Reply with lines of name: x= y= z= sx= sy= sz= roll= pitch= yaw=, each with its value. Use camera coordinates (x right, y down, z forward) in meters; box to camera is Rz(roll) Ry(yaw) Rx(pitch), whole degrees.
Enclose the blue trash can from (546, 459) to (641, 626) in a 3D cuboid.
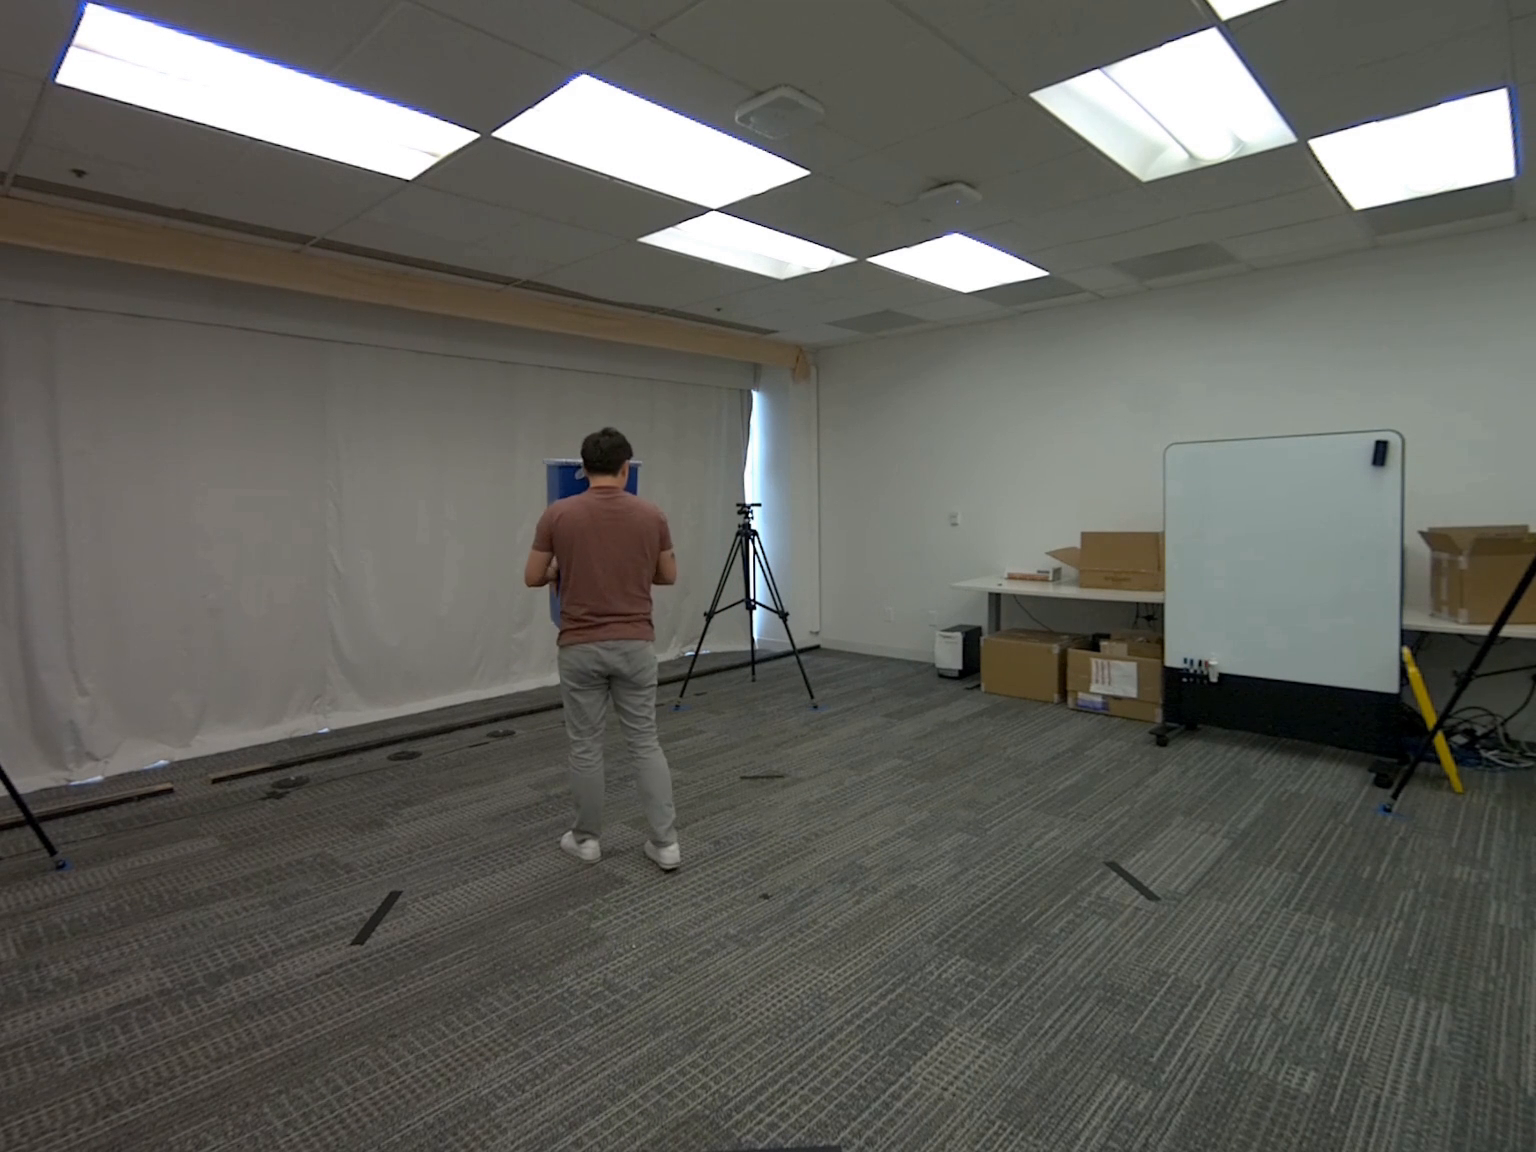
blue trash can: x=-0.771 y=-0.151 z=3.658 sx=0.370 sy=0.710 sz=0.383 roll=0 pitch=8 yaw=-21
